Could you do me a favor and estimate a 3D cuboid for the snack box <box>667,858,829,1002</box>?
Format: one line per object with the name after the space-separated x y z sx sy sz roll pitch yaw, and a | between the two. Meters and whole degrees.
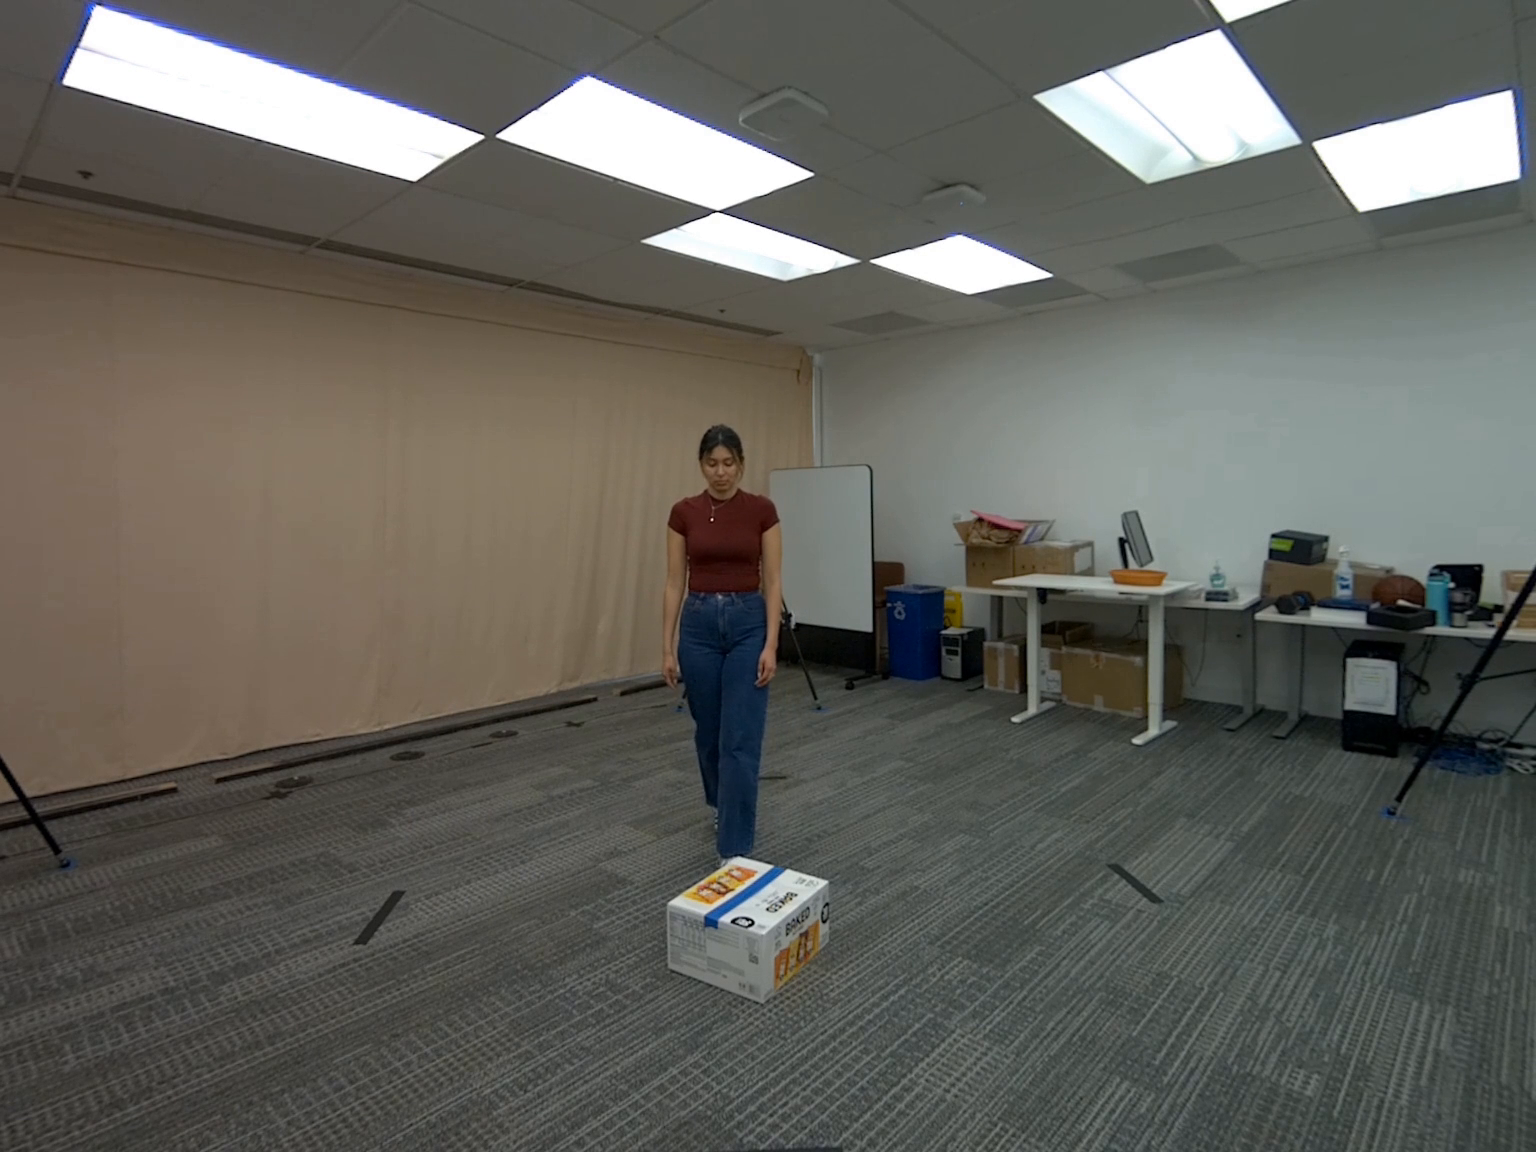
-0.051 1.070 2.592 0.350 0.205 0.394 1 5 33 | snack box
